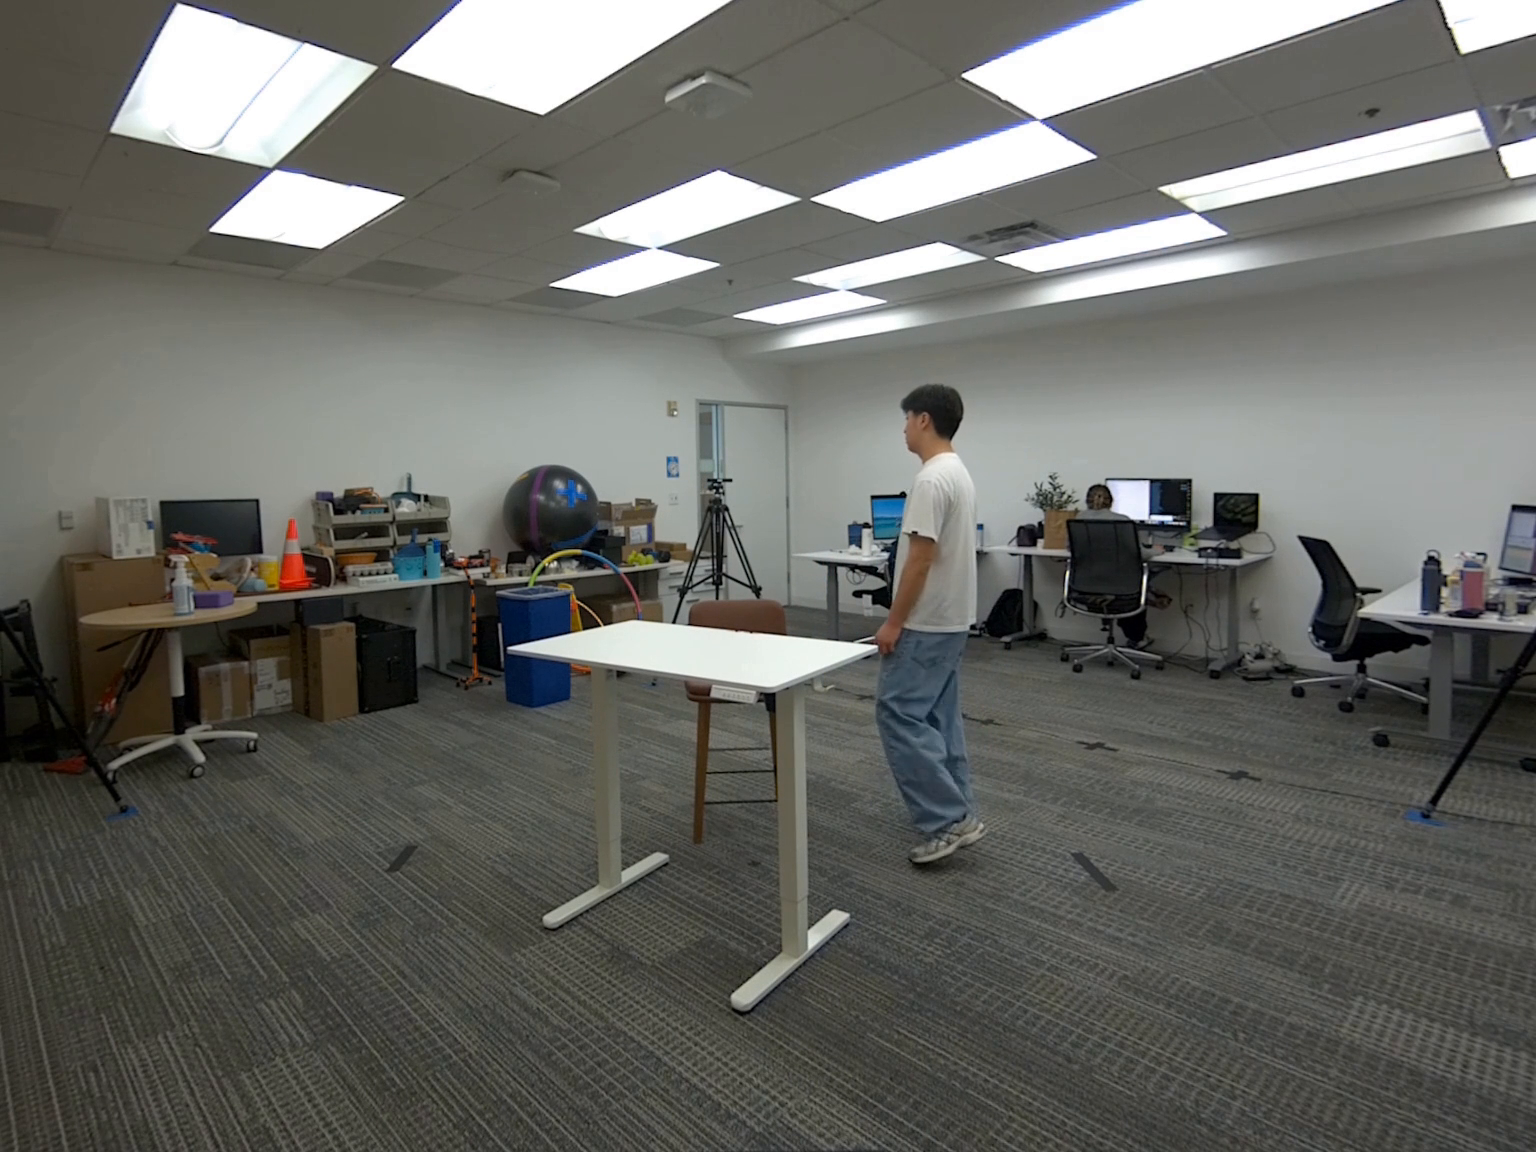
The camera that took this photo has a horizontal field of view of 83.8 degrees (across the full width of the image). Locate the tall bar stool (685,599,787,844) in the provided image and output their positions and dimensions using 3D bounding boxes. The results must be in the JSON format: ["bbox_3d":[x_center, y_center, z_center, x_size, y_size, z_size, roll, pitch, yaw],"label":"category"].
[{"bbox_3d":[-0.100,0.570,3.491,0.455,0.888,0.470,0,2,-5],"label":"tall bar stool"}]
